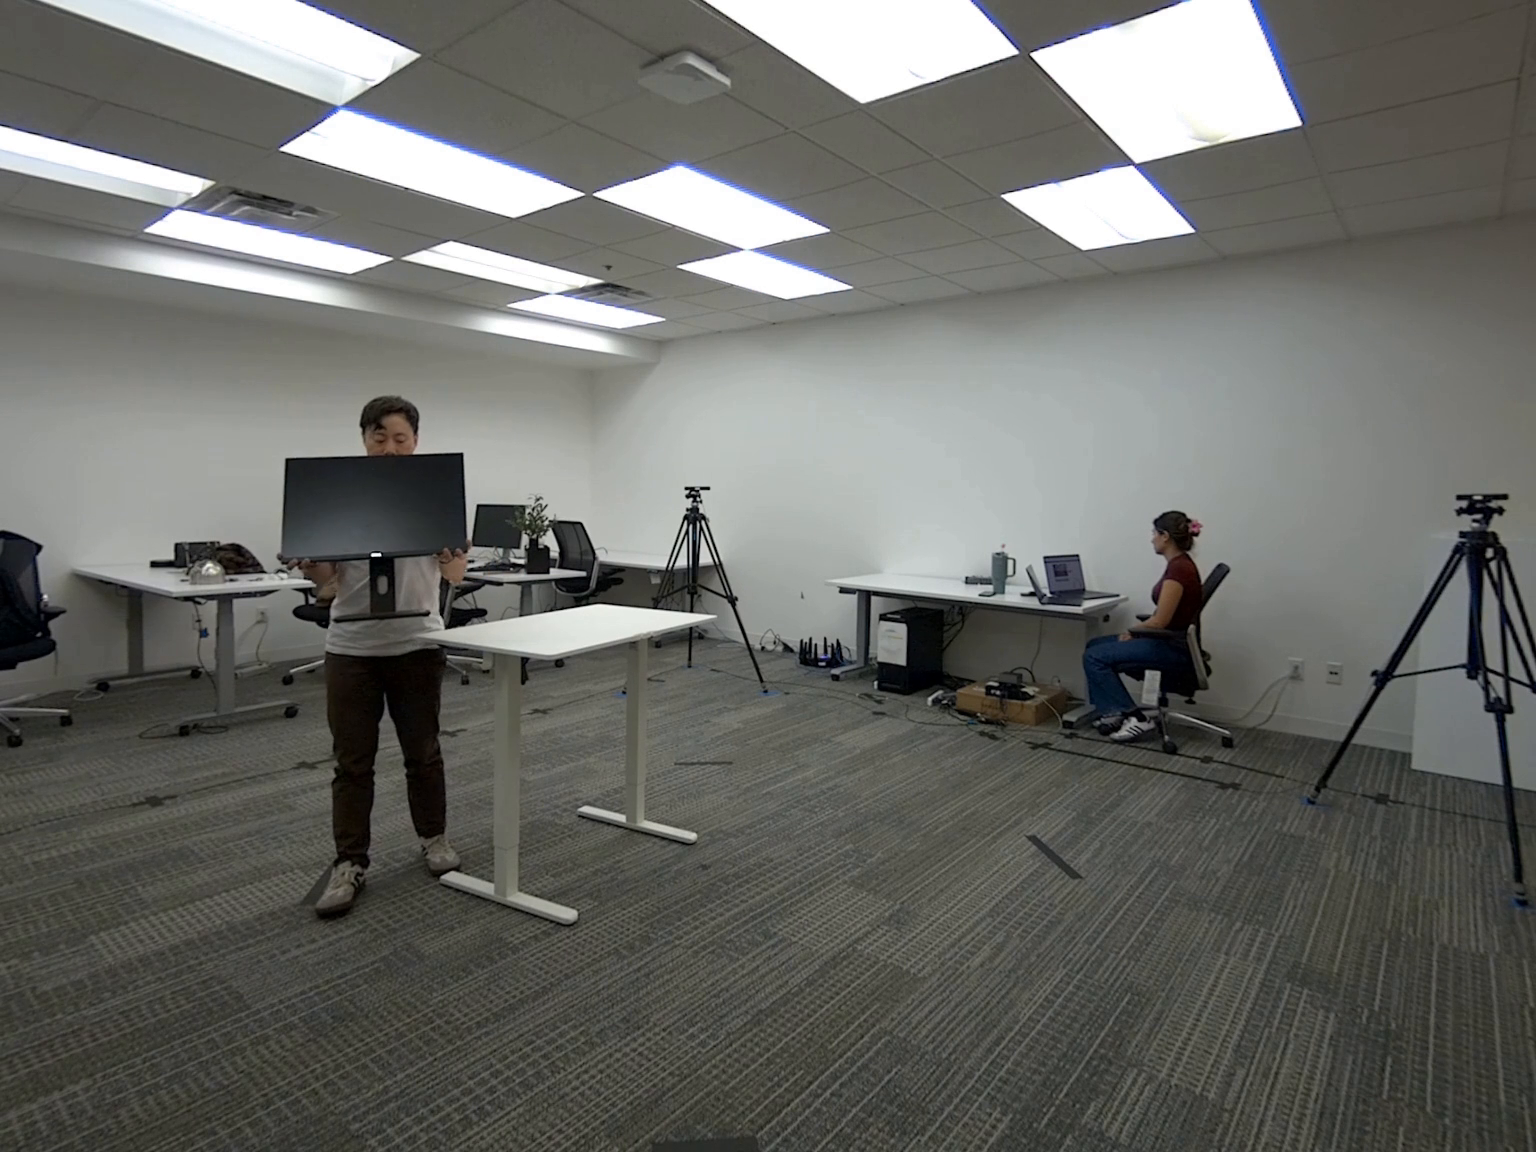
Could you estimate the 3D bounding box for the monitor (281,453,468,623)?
[{"bbox_3d":[-1.254,-0.130,2.679,0.531,0.526,0.188,-3,-6,-14],"label":"monitor"}]
